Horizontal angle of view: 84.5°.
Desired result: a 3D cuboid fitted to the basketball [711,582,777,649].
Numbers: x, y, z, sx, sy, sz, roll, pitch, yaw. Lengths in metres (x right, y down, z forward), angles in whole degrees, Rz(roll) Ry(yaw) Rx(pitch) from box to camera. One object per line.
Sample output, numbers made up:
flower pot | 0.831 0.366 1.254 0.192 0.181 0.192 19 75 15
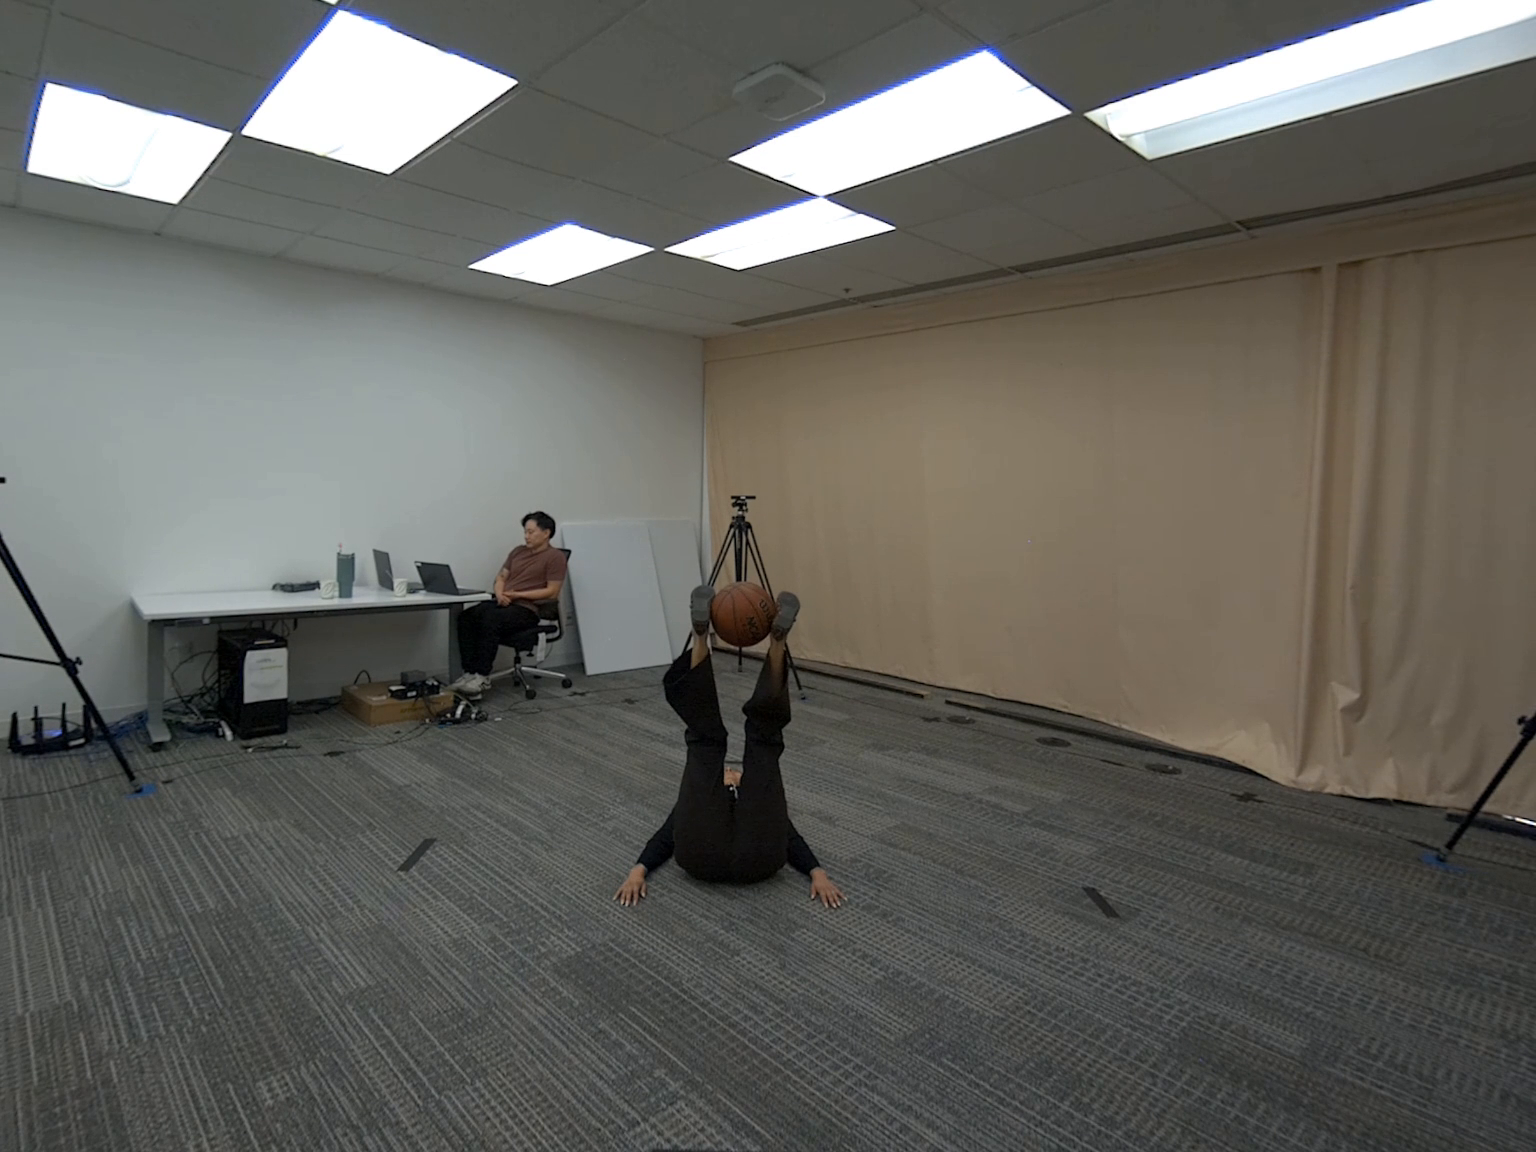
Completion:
basketball | -0.101 0.137 3.030 0.235 0.235 0.237 4 5 -2
